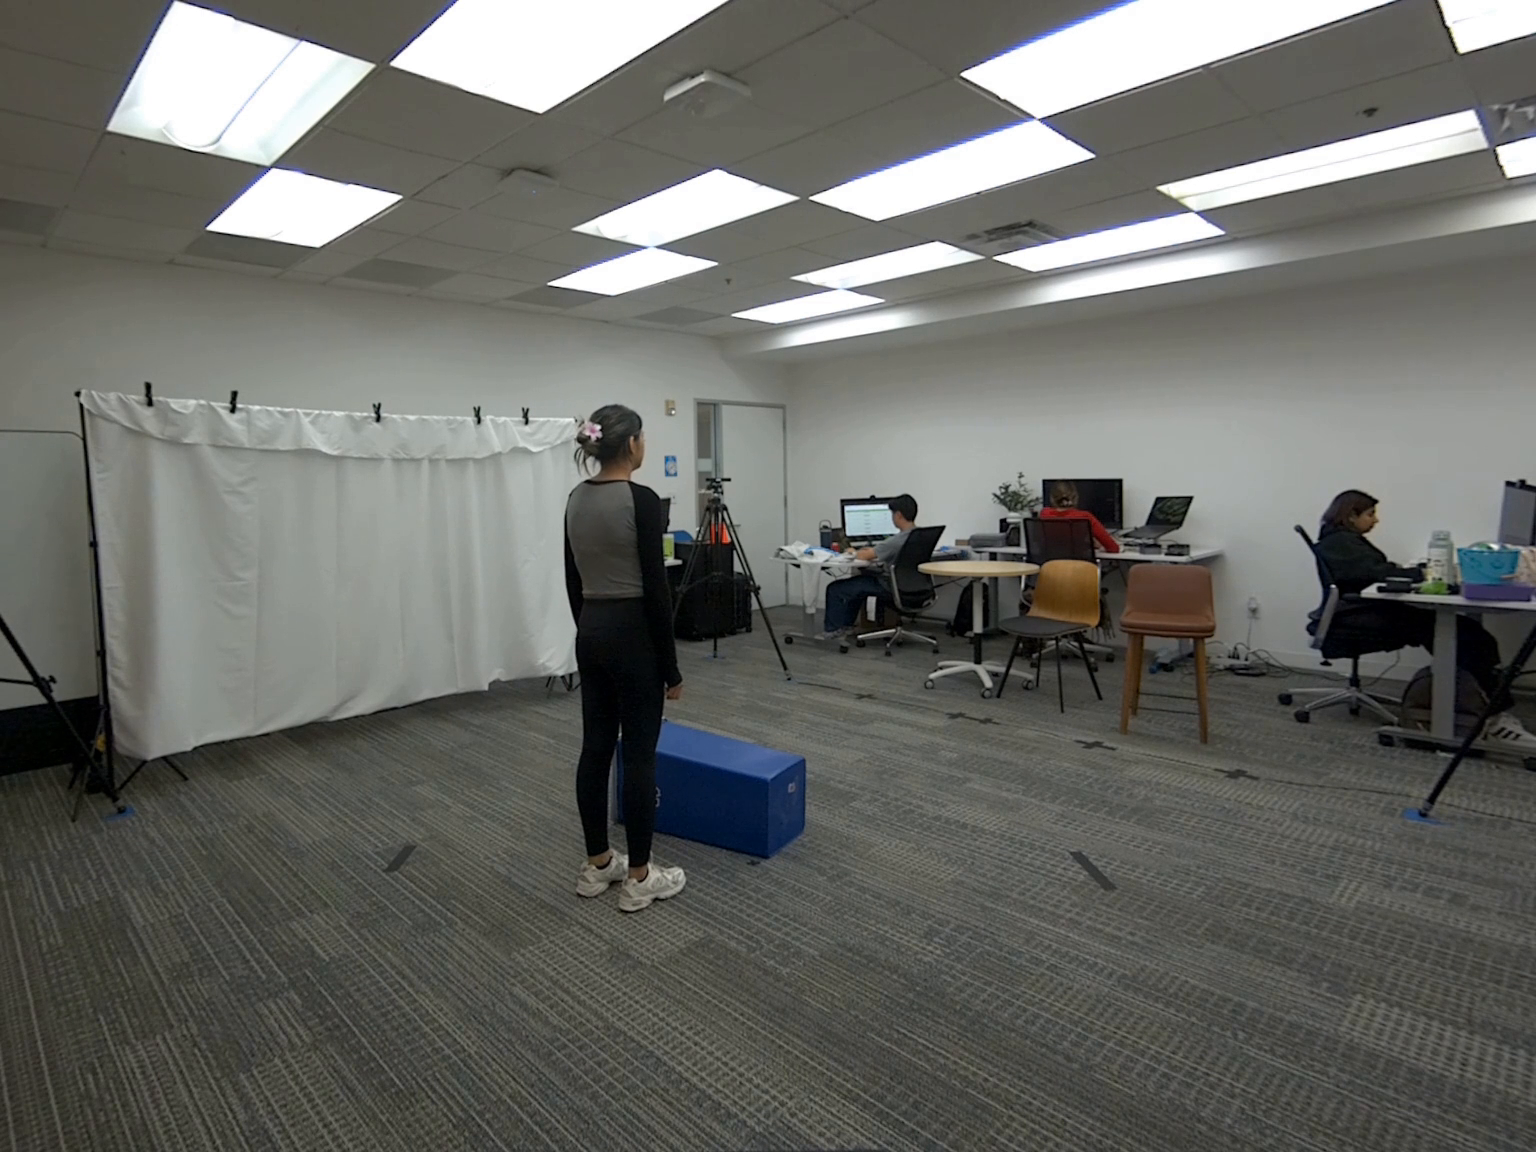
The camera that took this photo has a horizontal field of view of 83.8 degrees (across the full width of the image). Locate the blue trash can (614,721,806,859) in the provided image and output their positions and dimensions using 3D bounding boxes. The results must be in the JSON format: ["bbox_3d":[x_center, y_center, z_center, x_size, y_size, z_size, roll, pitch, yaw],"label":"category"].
[{"bbox_3d":[-0.233,0.839,3.422,0.734,0.376,0.365,4,6,32],"label":"blue trash can"}]
